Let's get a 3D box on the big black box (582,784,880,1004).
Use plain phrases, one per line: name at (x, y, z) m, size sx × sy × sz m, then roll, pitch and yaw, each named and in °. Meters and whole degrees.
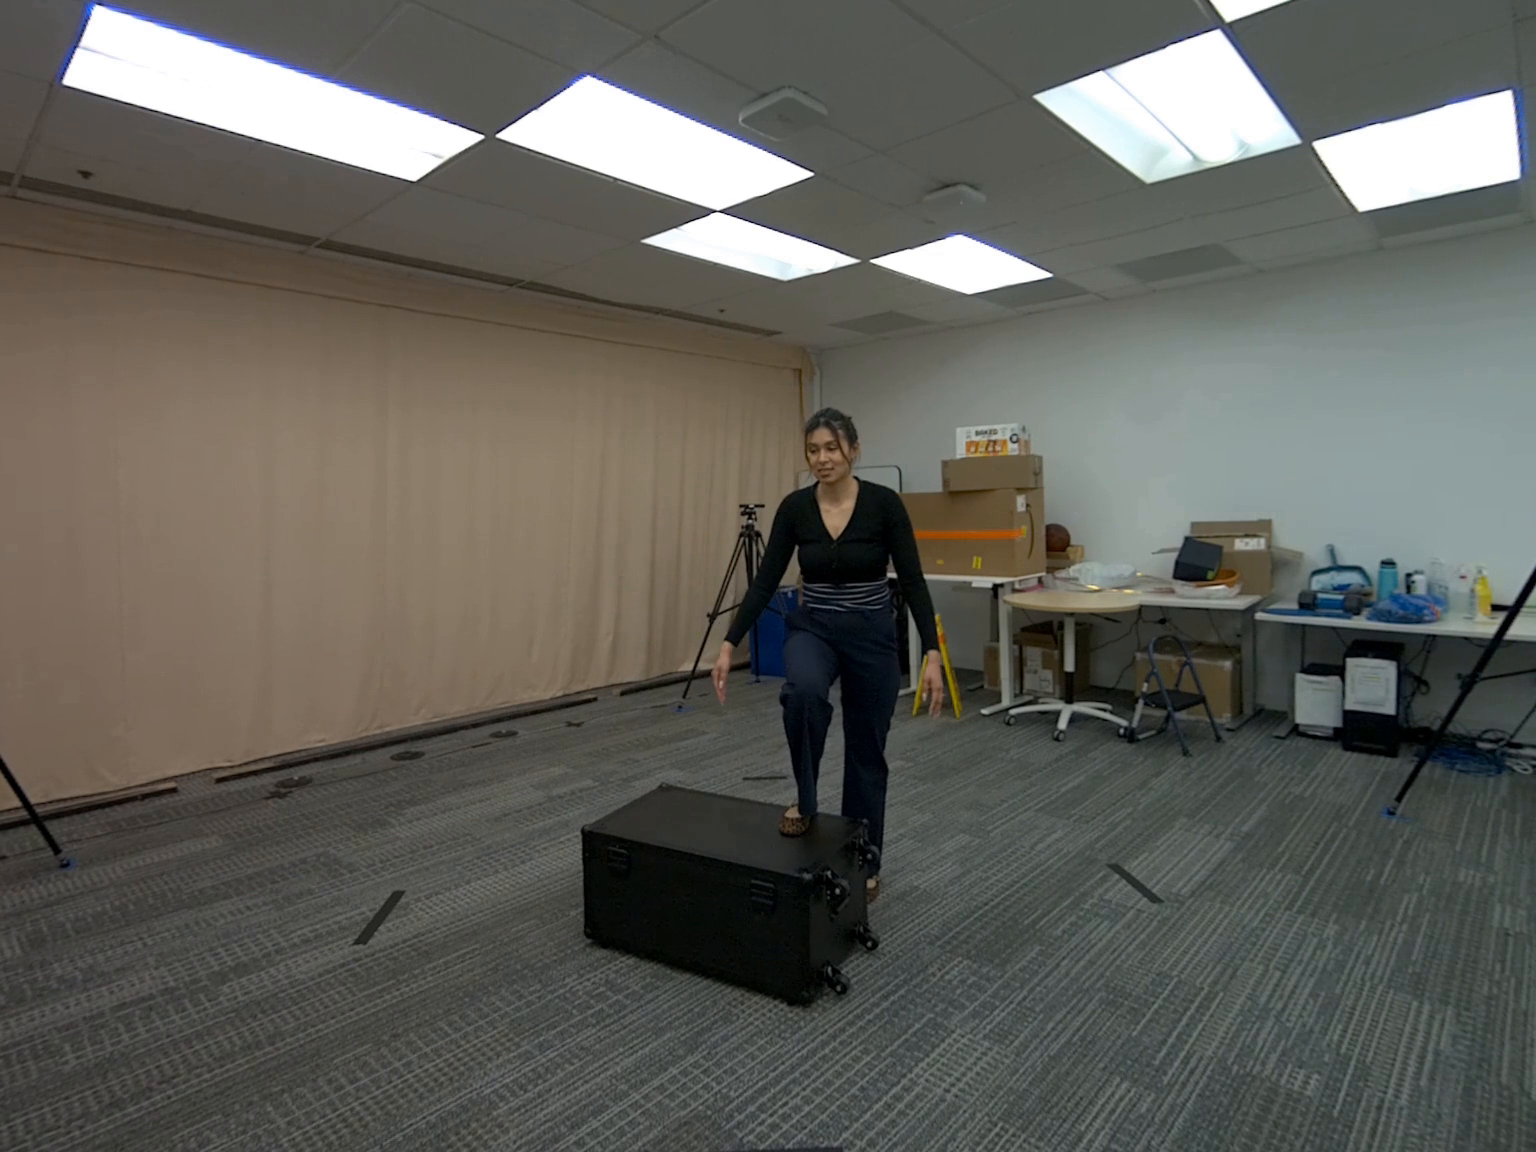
big black box at (-0.107, 0.982, 2.673) m, size 0.885 × 0.395 × 0.508 m, roll 1°, pitch 4°, yaw 28°
